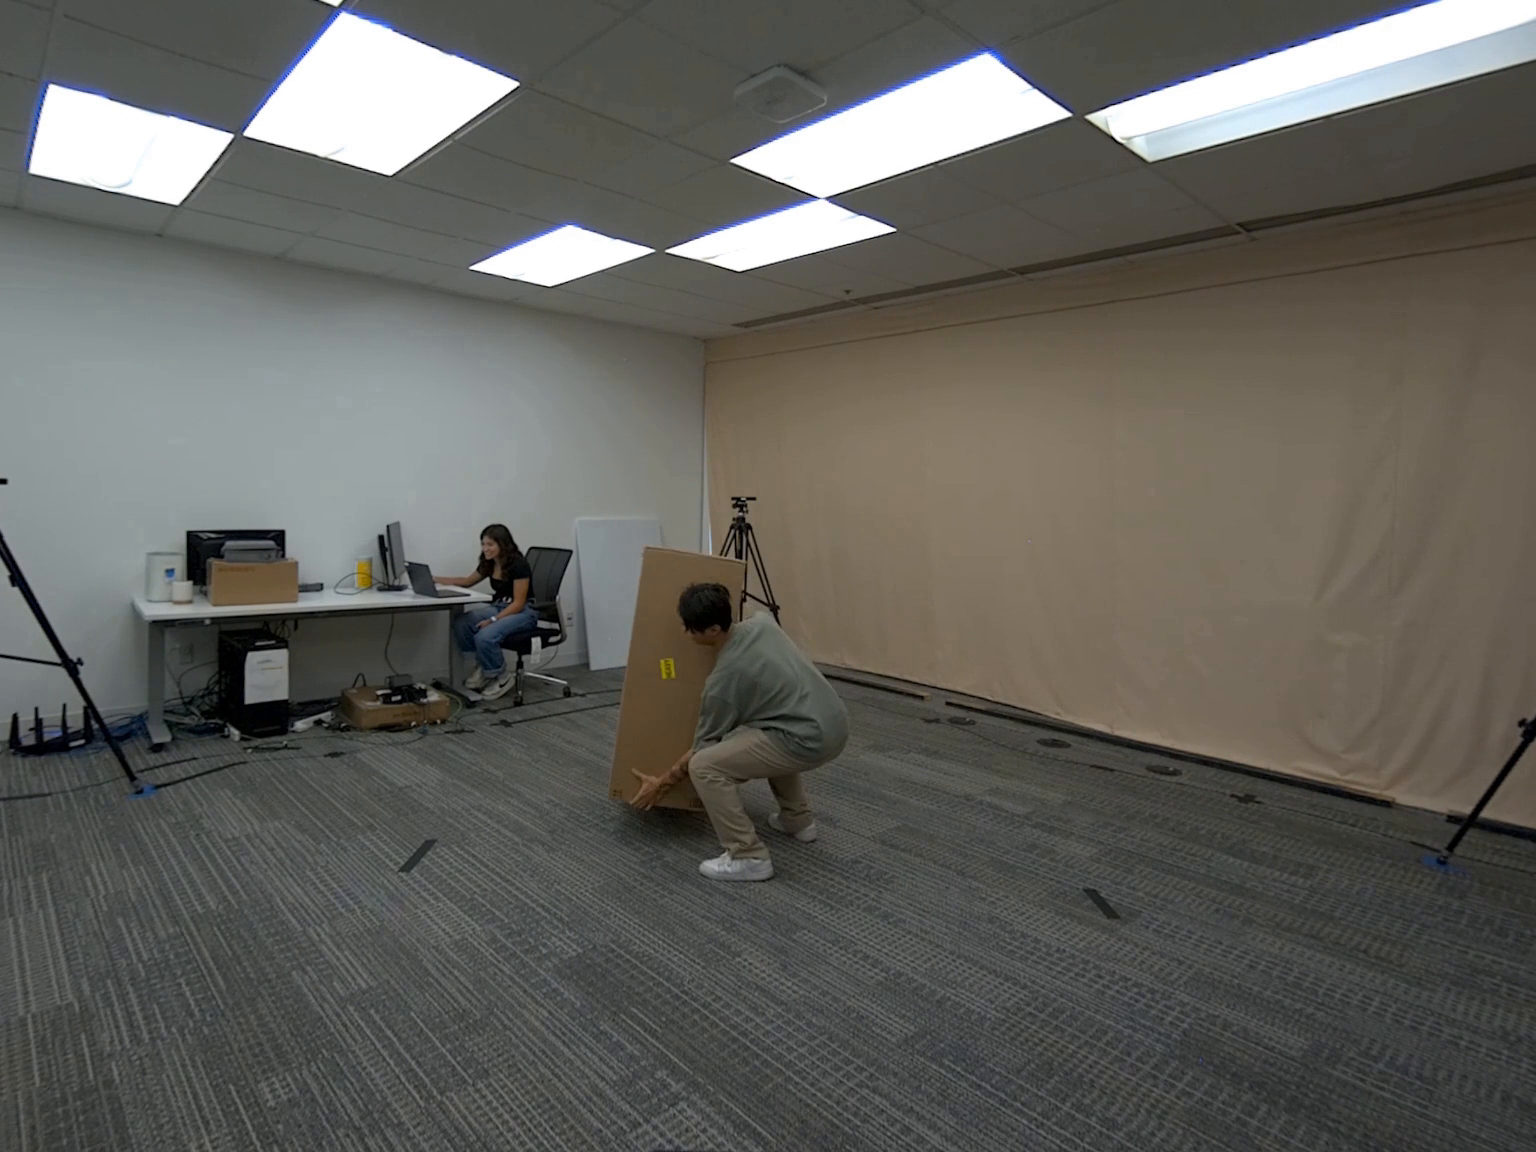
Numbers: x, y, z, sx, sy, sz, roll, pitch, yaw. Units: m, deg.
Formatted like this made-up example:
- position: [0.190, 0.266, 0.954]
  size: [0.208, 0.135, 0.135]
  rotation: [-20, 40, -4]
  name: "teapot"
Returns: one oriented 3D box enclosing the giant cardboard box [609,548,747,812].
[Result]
- position: [-0.398, 0.416, 3.681]
  size: [0.425, 1.028, 0.577]
  rotation: [9, -3, -3]
  name: "giant cardboard box"
